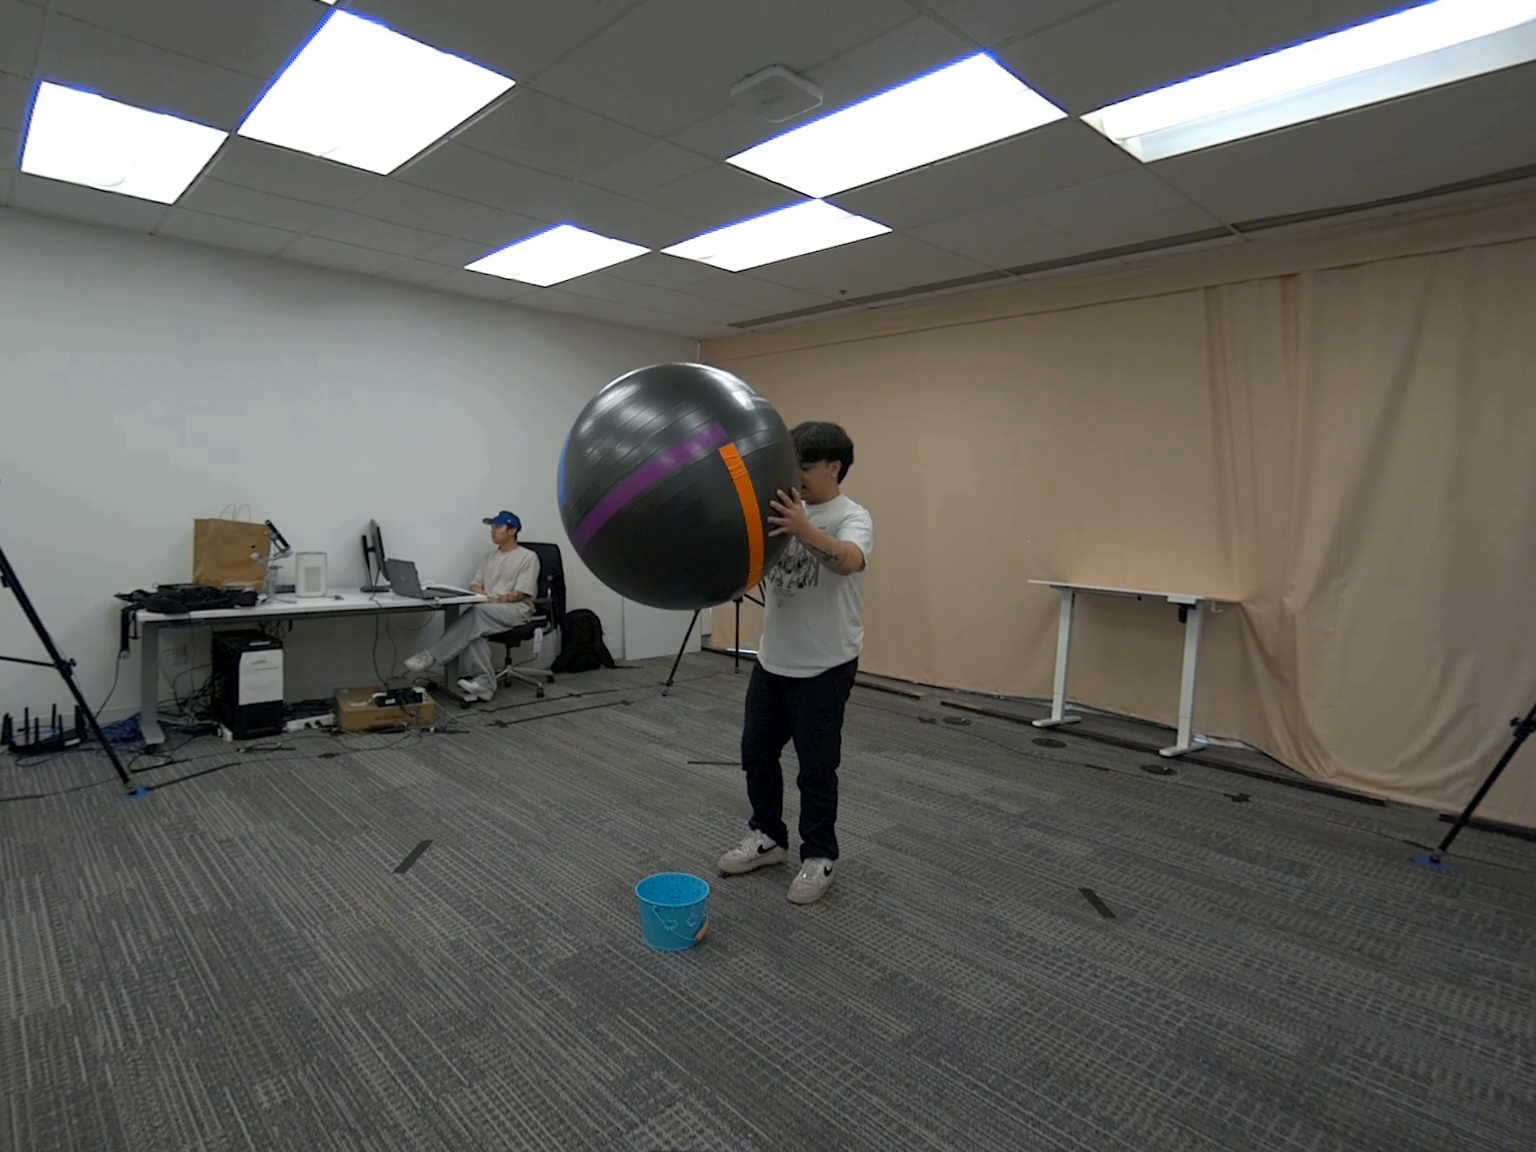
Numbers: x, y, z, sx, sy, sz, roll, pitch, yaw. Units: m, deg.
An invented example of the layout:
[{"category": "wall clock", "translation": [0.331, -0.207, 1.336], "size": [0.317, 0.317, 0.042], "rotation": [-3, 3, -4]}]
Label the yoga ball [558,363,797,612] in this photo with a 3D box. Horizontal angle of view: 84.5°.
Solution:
[{"category": "yoga ball", "translation": [-0.278, -0.270, 2.611], "size": [0.757, 0.756, 0.760], "rotation": [1, 4, -1]}]
